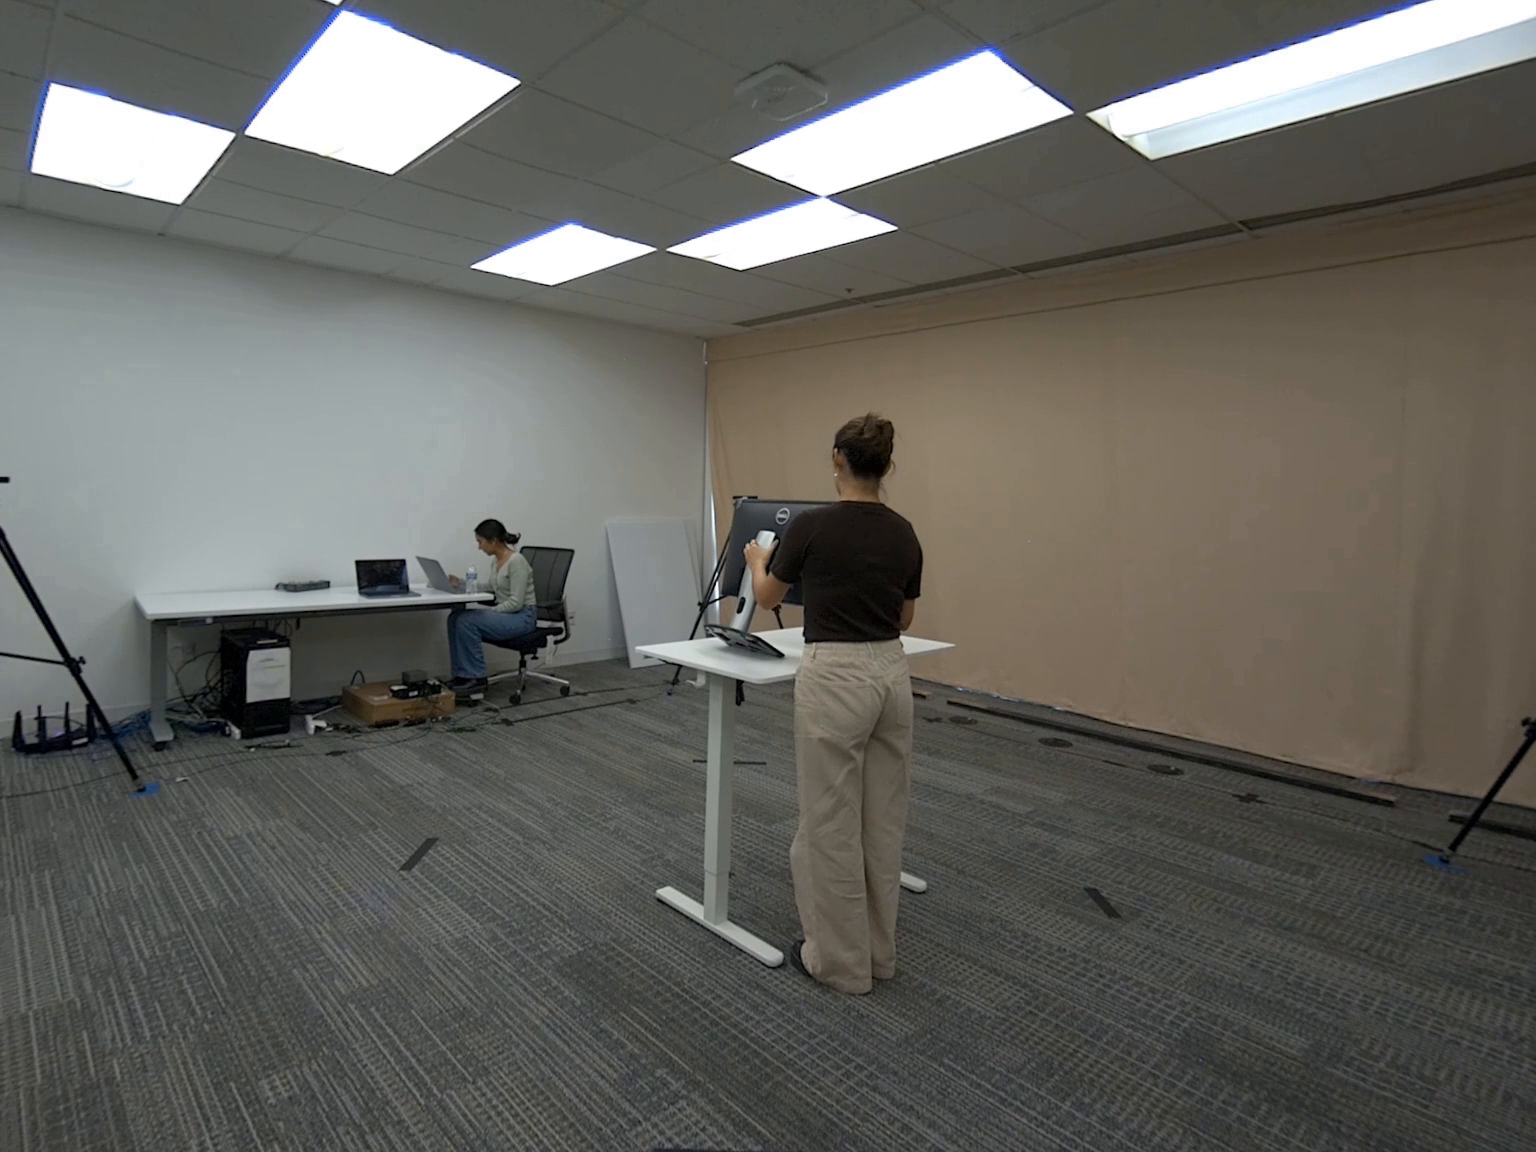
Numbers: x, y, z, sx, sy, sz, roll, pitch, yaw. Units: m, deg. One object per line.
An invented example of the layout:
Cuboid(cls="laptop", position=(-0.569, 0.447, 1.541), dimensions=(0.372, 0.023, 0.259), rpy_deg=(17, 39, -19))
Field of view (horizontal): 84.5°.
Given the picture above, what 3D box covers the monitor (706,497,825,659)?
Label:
Cuboid(cls="monitor", position=(-0.009, -0.012, 2.807), dimensions=(0.553, 0.525, 0.181), rpy_deg=(7, -18, 43))
